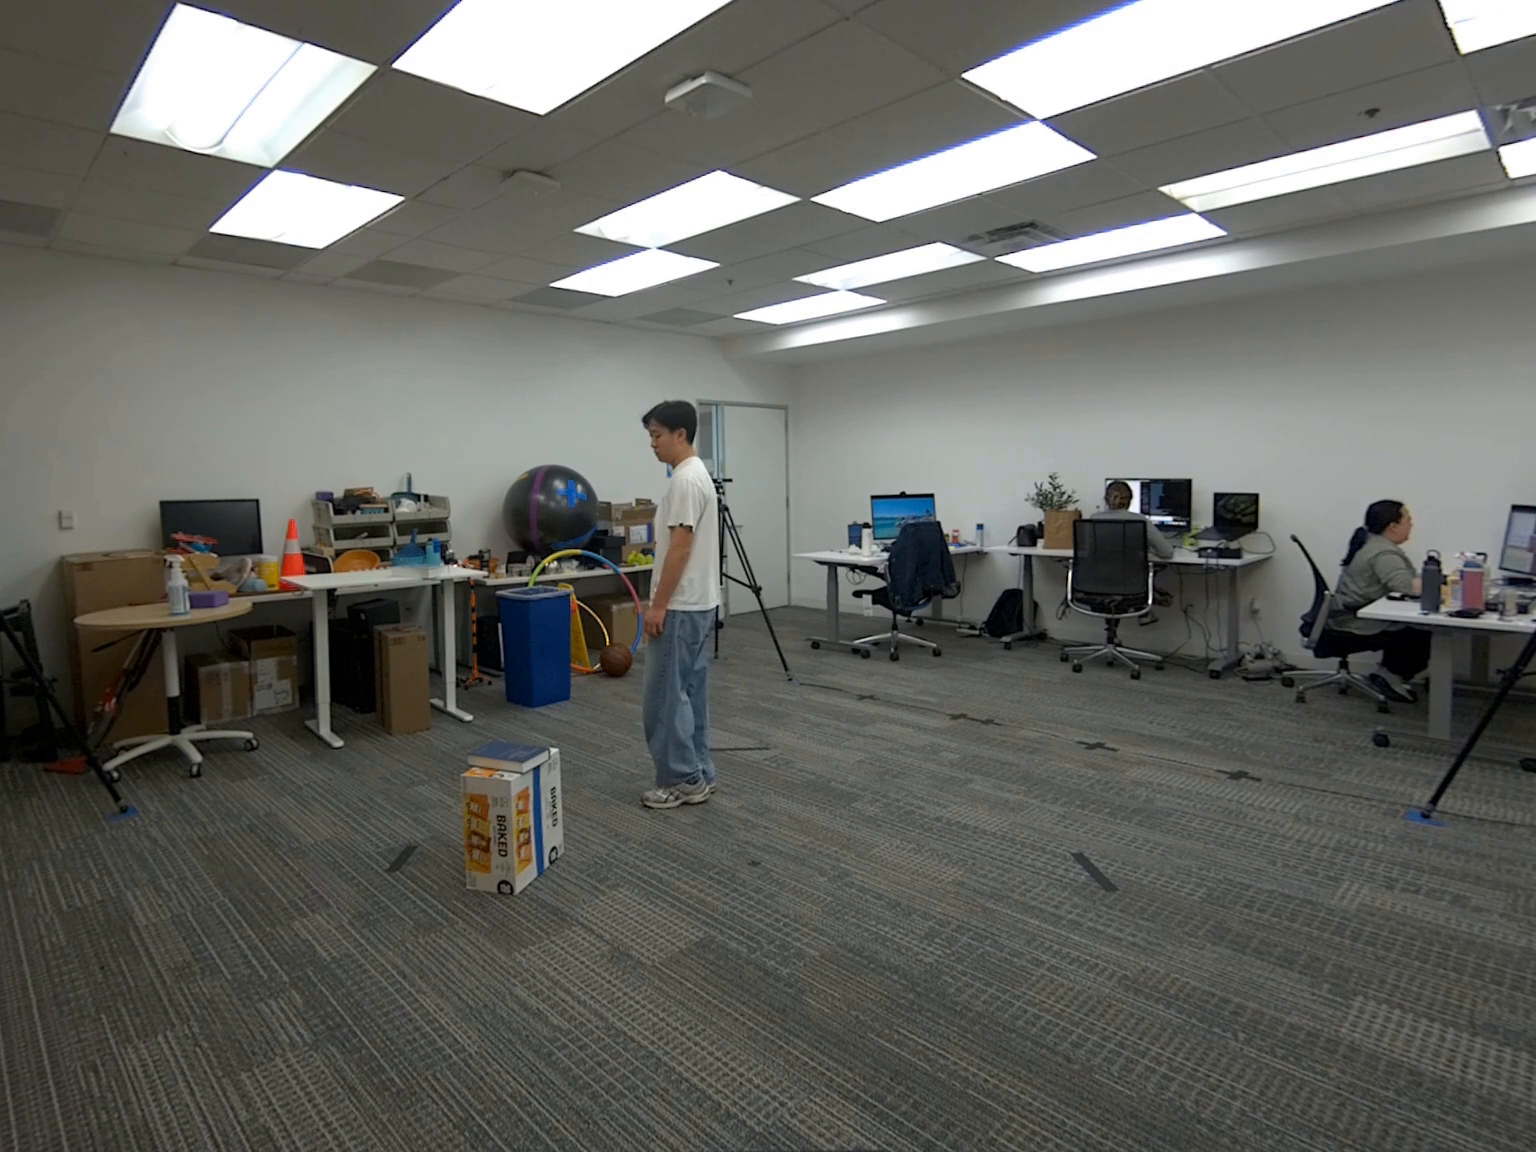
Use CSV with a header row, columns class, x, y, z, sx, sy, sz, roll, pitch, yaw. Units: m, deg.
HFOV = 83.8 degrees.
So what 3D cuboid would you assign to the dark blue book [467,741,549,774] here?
class,x,y,z,sx,sy,sz,roll,pitch,yaw
dark blue book,-0.926,0.645,3.051,0.250,0.045,0.161,2,7,22
